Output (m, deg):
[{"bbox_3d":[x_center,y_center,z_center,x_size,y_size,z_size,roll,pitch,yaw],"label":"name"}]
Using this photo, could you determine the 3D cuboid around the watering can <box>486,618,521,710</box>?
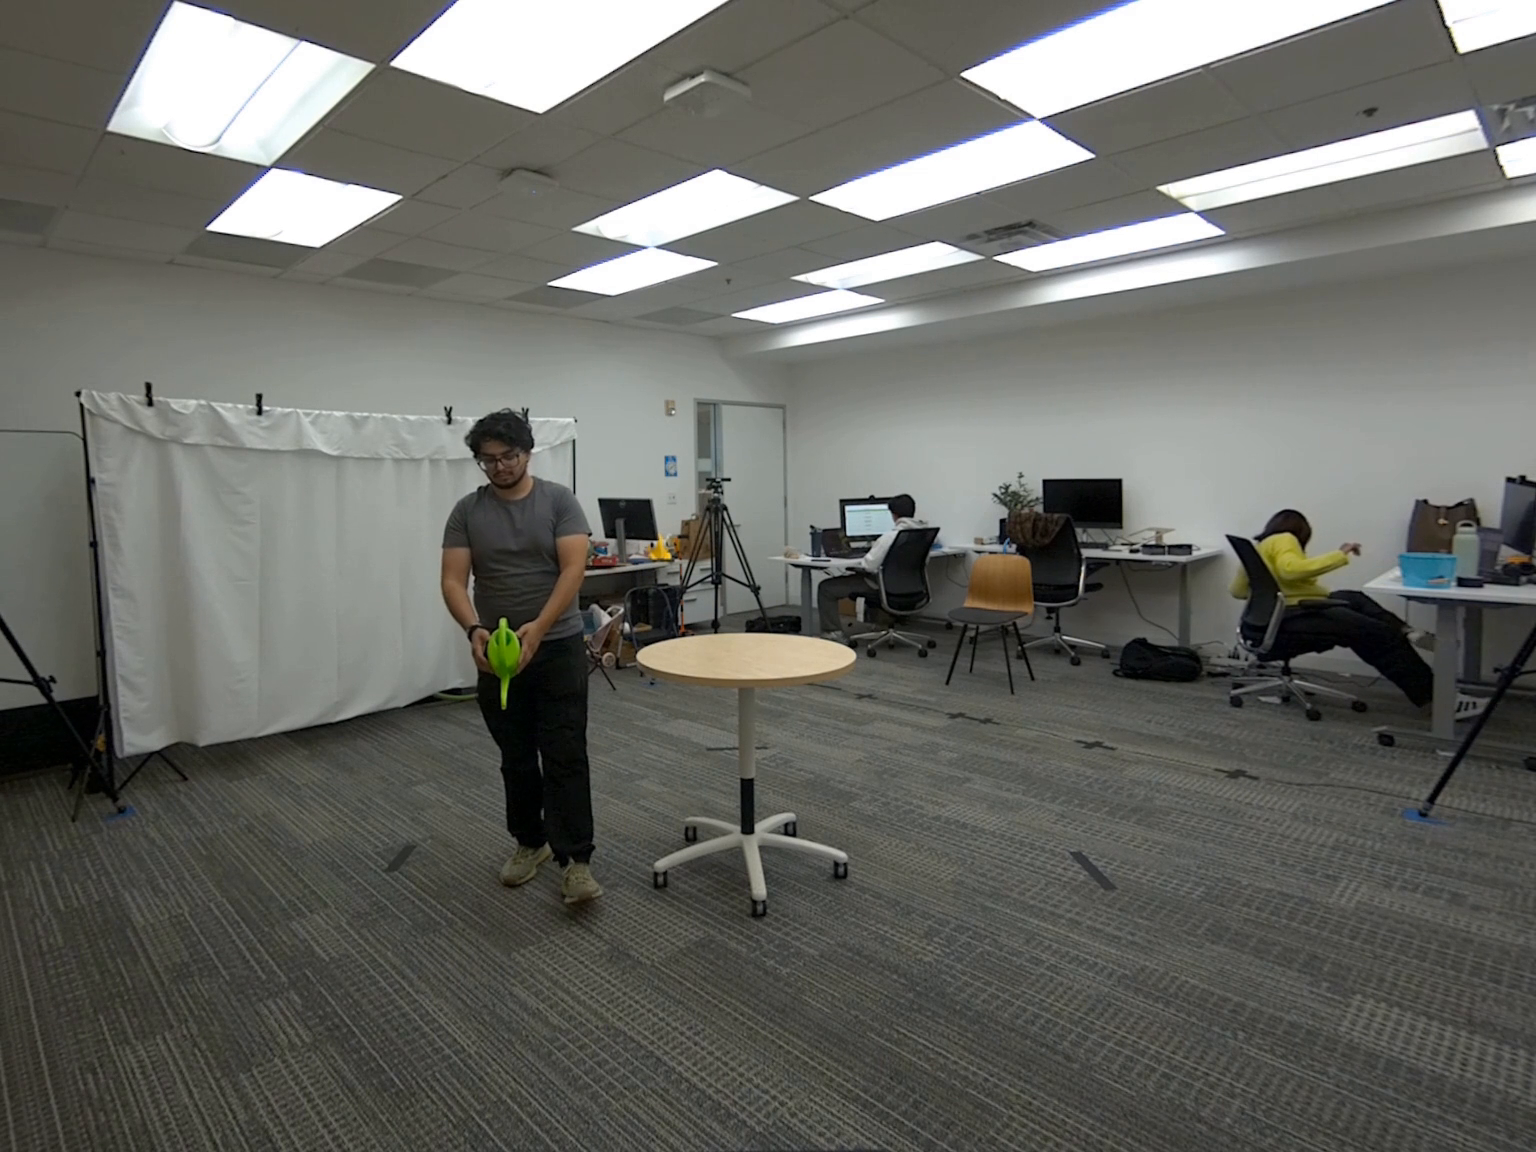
[{"bbox_3d":[-0.815,0.276,2.582,0.097,0.283,0.175,8,-22,-5],"label":"watering can"}]
